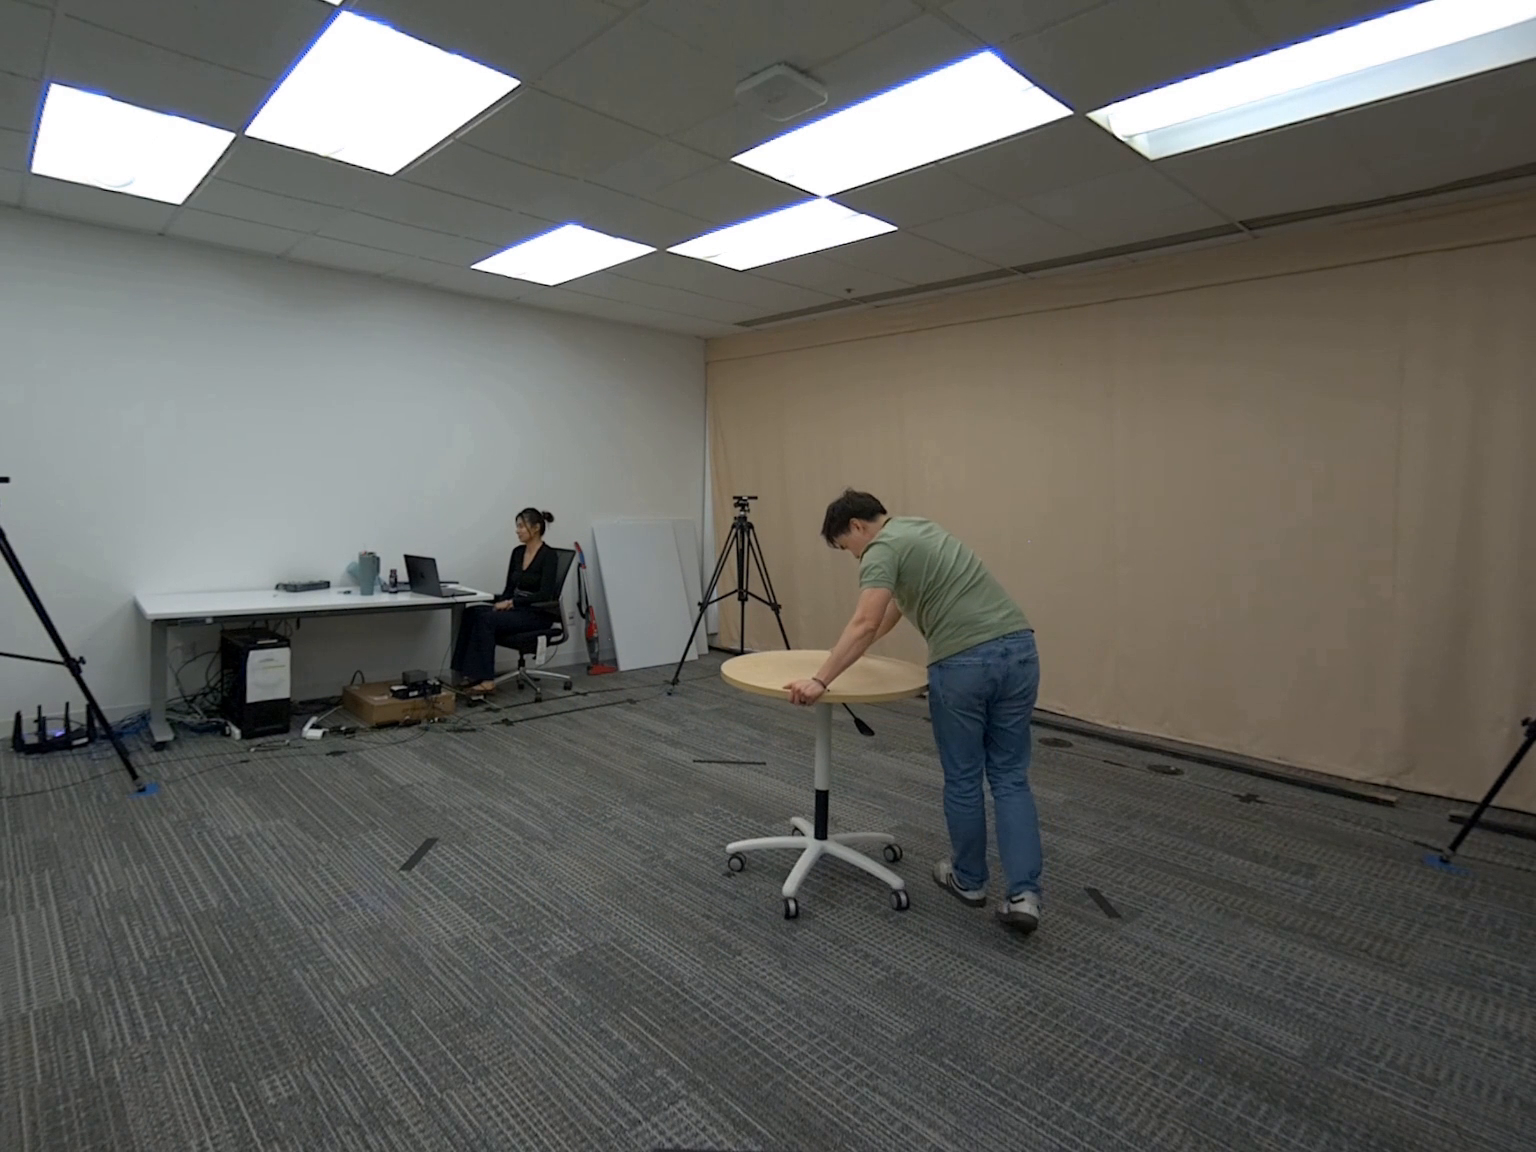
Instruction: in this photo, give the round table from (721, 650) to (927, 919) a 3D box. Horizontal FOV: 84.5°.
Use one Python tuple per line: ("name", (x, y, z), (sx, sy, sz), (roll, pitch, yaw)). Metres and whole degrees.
("round table", (0.202, 0.730, 3.095), (0.763, 0.792, 0.767), (2, 4, -1))
